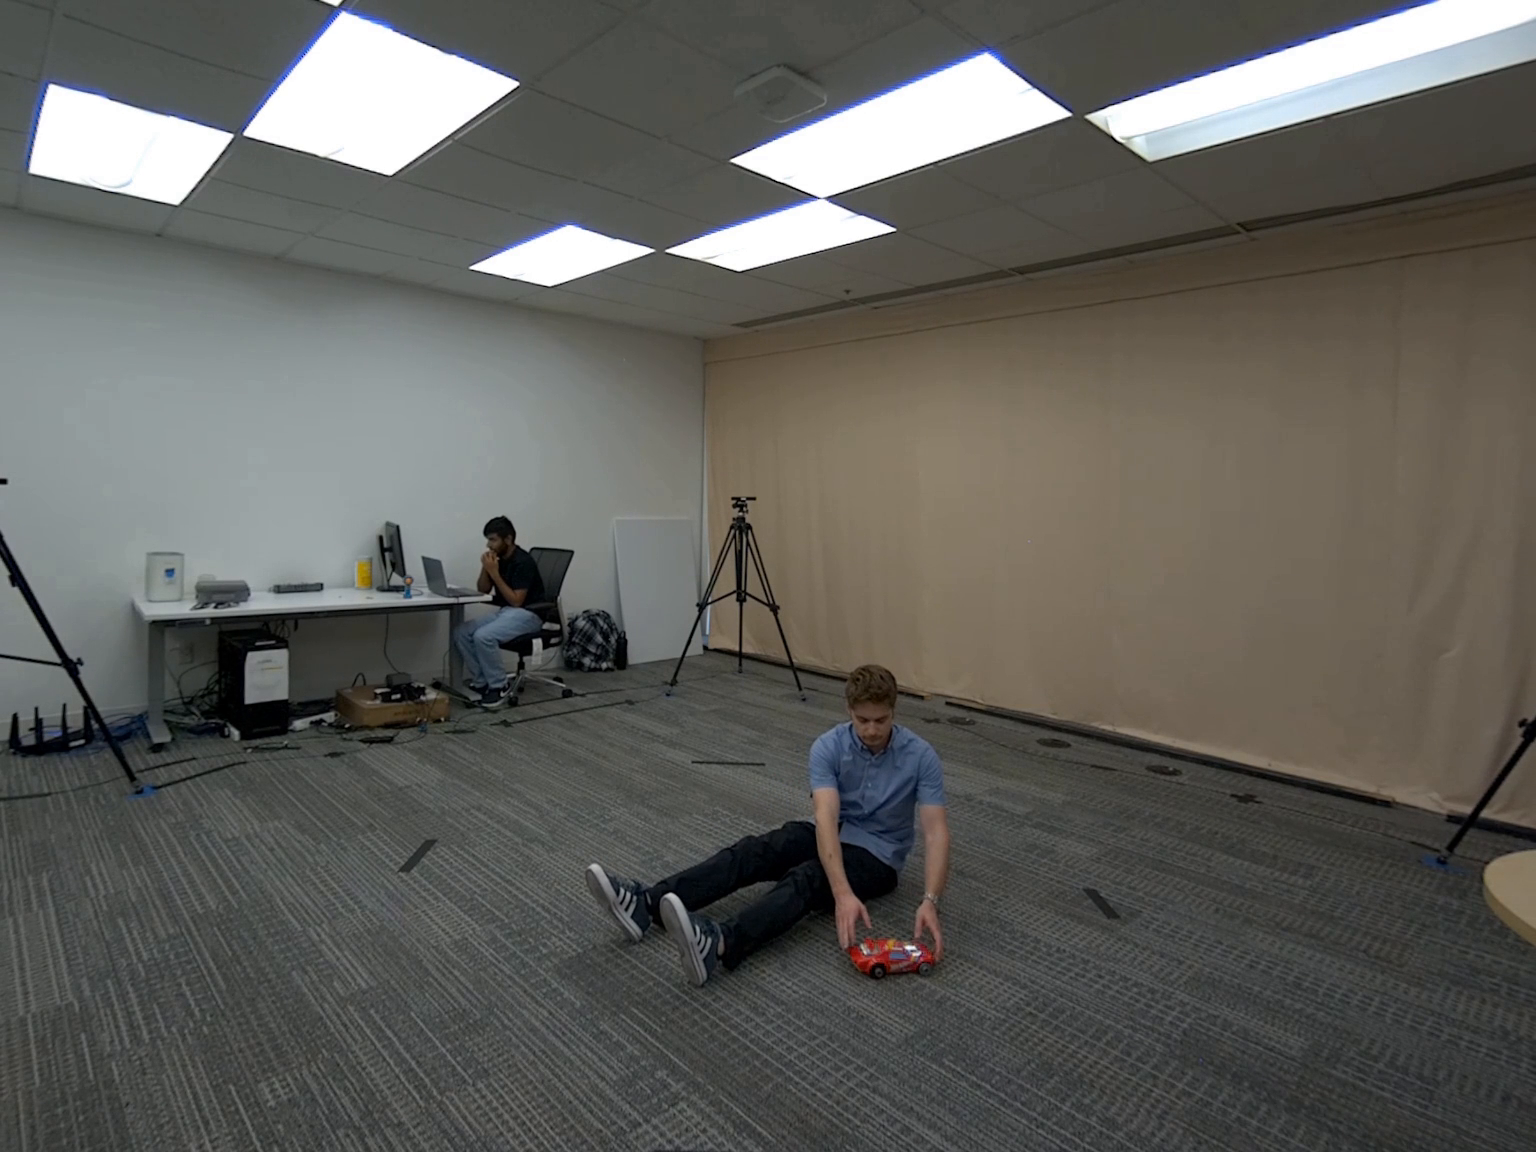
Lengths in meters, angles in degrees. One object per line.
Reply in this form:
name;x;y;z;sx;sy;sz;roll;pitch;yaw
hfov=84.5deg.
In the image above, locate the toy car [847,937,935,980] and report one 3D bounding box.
toy car;0.349;1.139;2.509;0.252;0.083;0.132;12;3;-11
